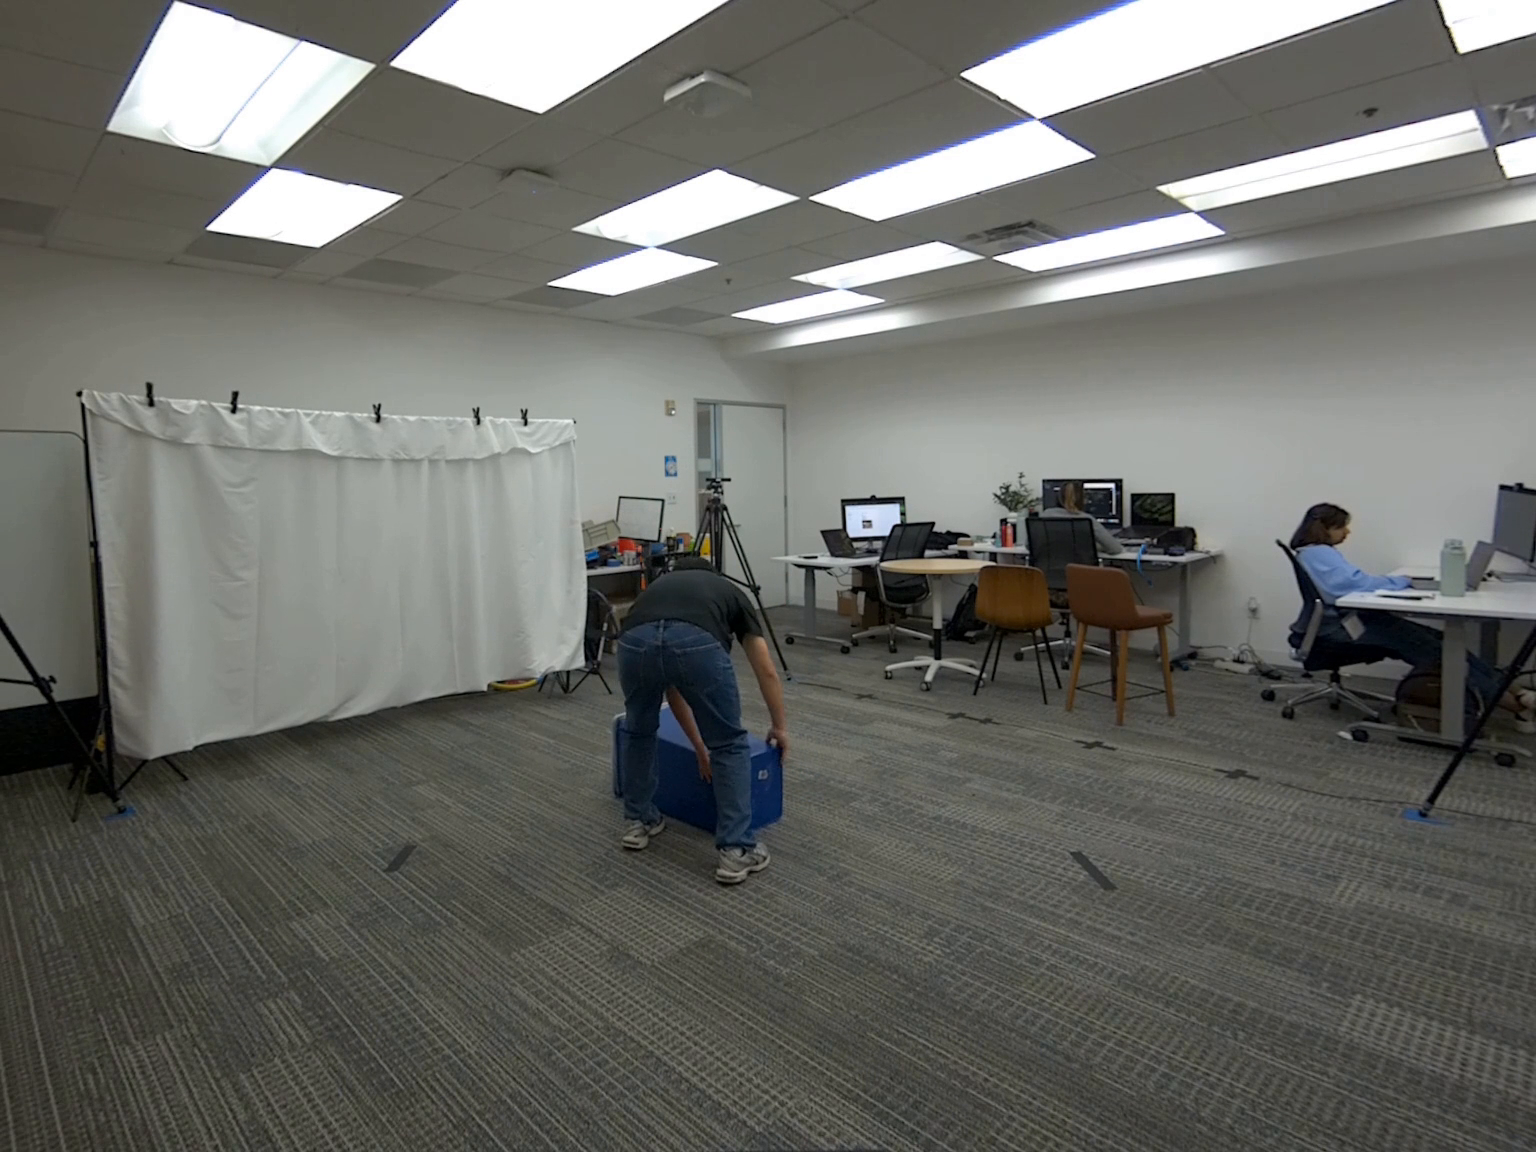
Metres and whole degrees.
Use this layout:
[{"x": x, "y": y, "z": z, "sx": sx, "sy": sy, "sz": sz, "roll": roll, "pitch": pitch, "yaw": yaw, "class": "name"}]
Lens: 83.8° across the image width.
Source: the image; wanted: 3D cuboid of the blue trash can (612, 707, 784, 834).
[{"x": -0.299, "y": 0.811, "z": 3.648, "sx": 0.736, "sy": 0.372, "sz": 0.368, "roll": 7, "pitch": 8, "yaw": 43, "class": "blue trash can"}]
